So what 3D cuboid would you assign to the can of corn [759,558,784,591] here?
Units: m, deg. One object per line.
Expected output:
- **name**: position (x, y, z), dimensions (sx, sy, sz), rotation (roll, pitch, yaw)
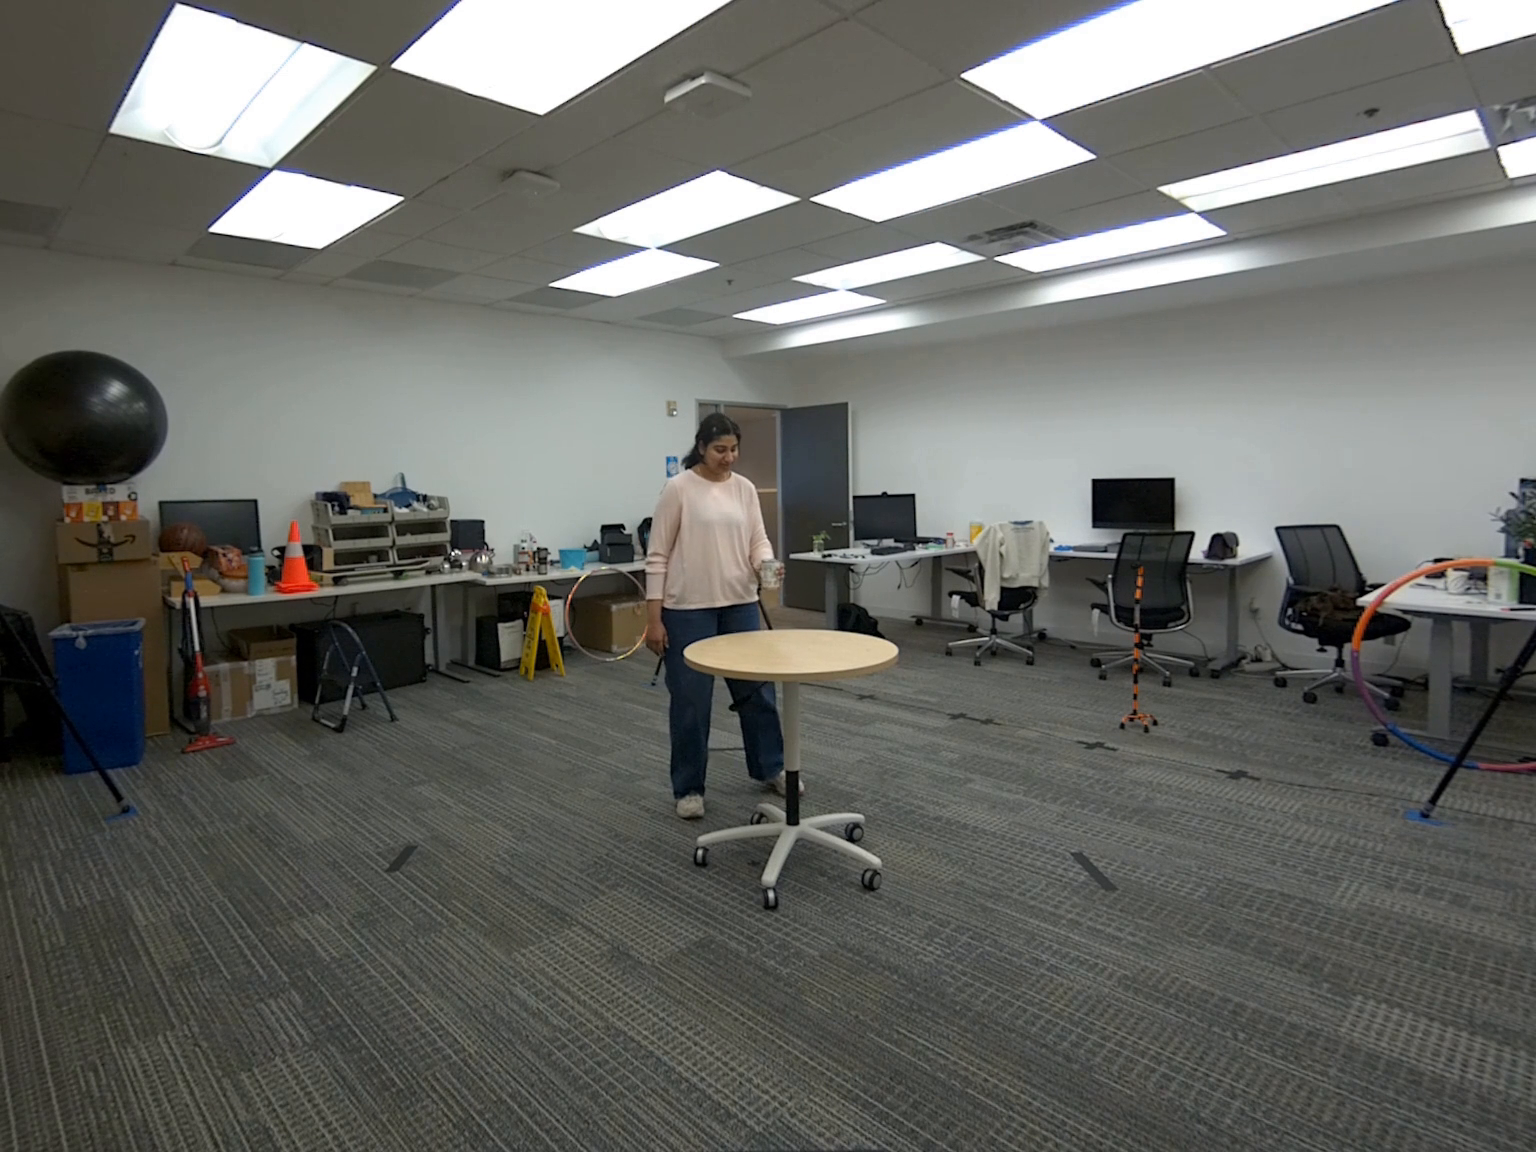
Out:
- **can of corn**: position (0.005, -0.008, 3.398), dimensions (0.074, 0.110, 0.075), rotation (1, 8, -2)
